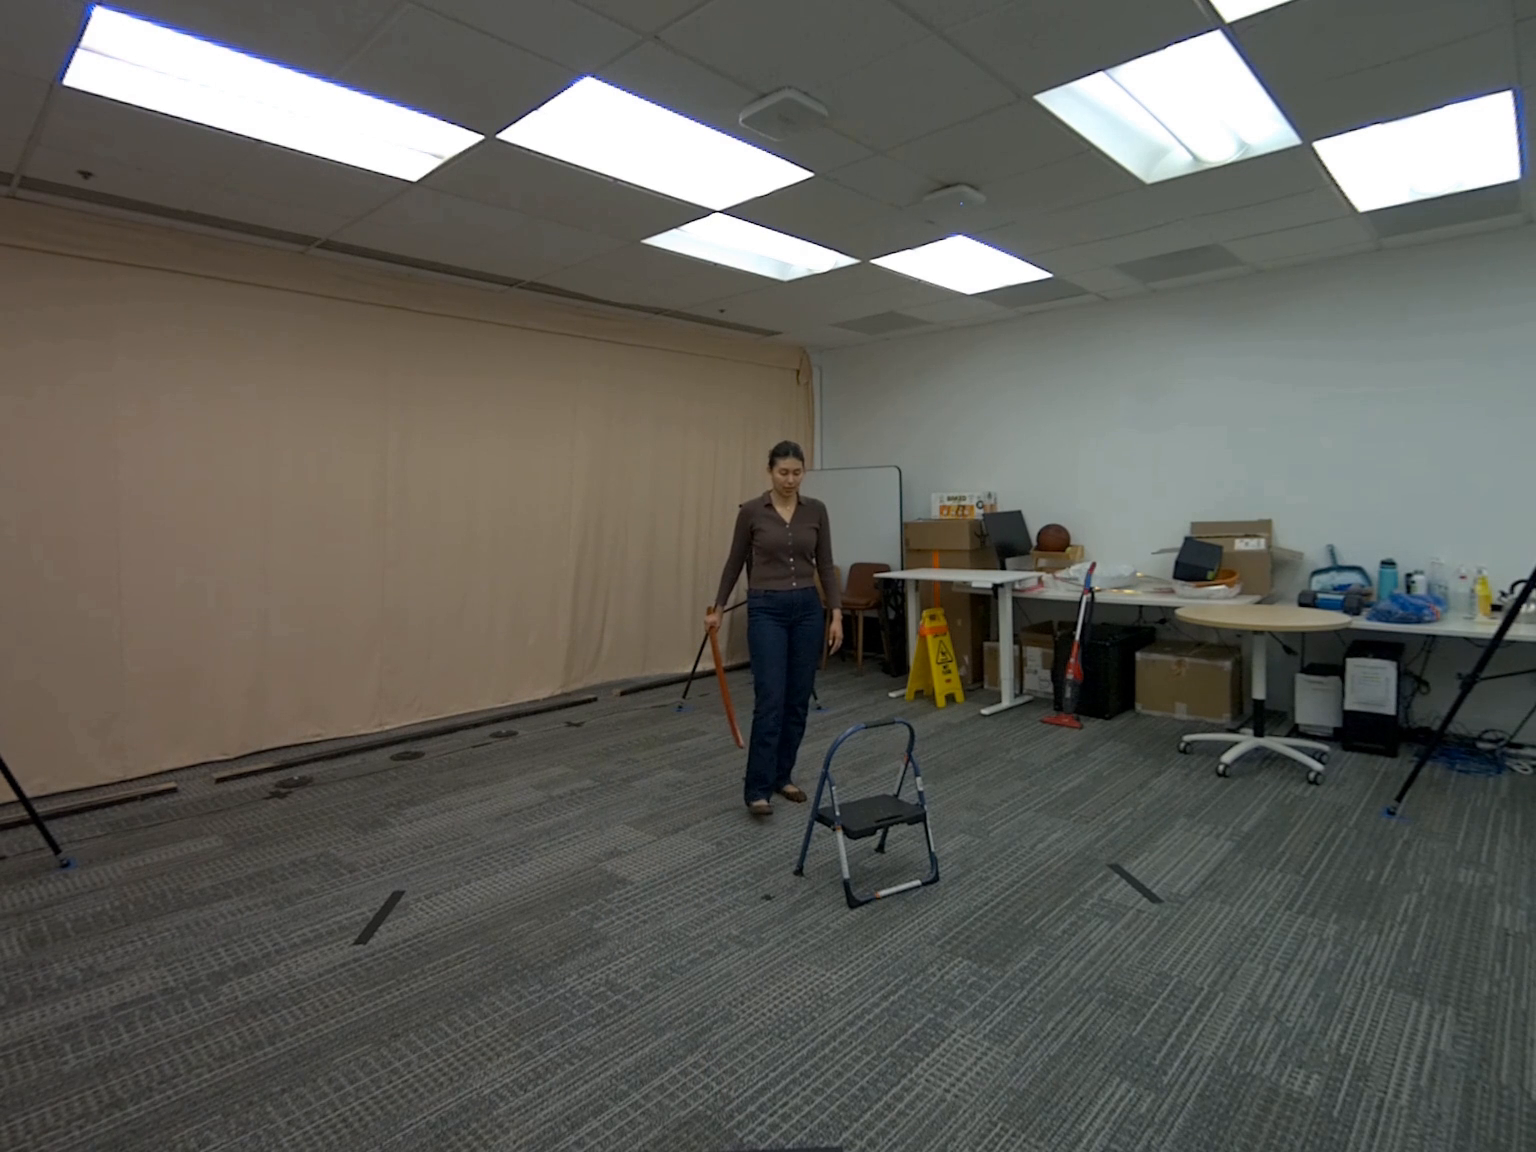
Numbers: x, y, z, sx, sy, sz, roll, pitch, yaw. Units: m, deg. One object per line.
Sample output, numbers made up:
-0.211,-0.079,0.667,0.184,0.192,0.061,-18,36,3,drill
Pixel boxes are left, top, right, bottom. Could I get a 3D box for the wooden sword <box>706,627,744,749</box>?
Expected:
-0.191,0.436,3.840,0.051,0.023,1.051,-31,33,6,wooden sword
